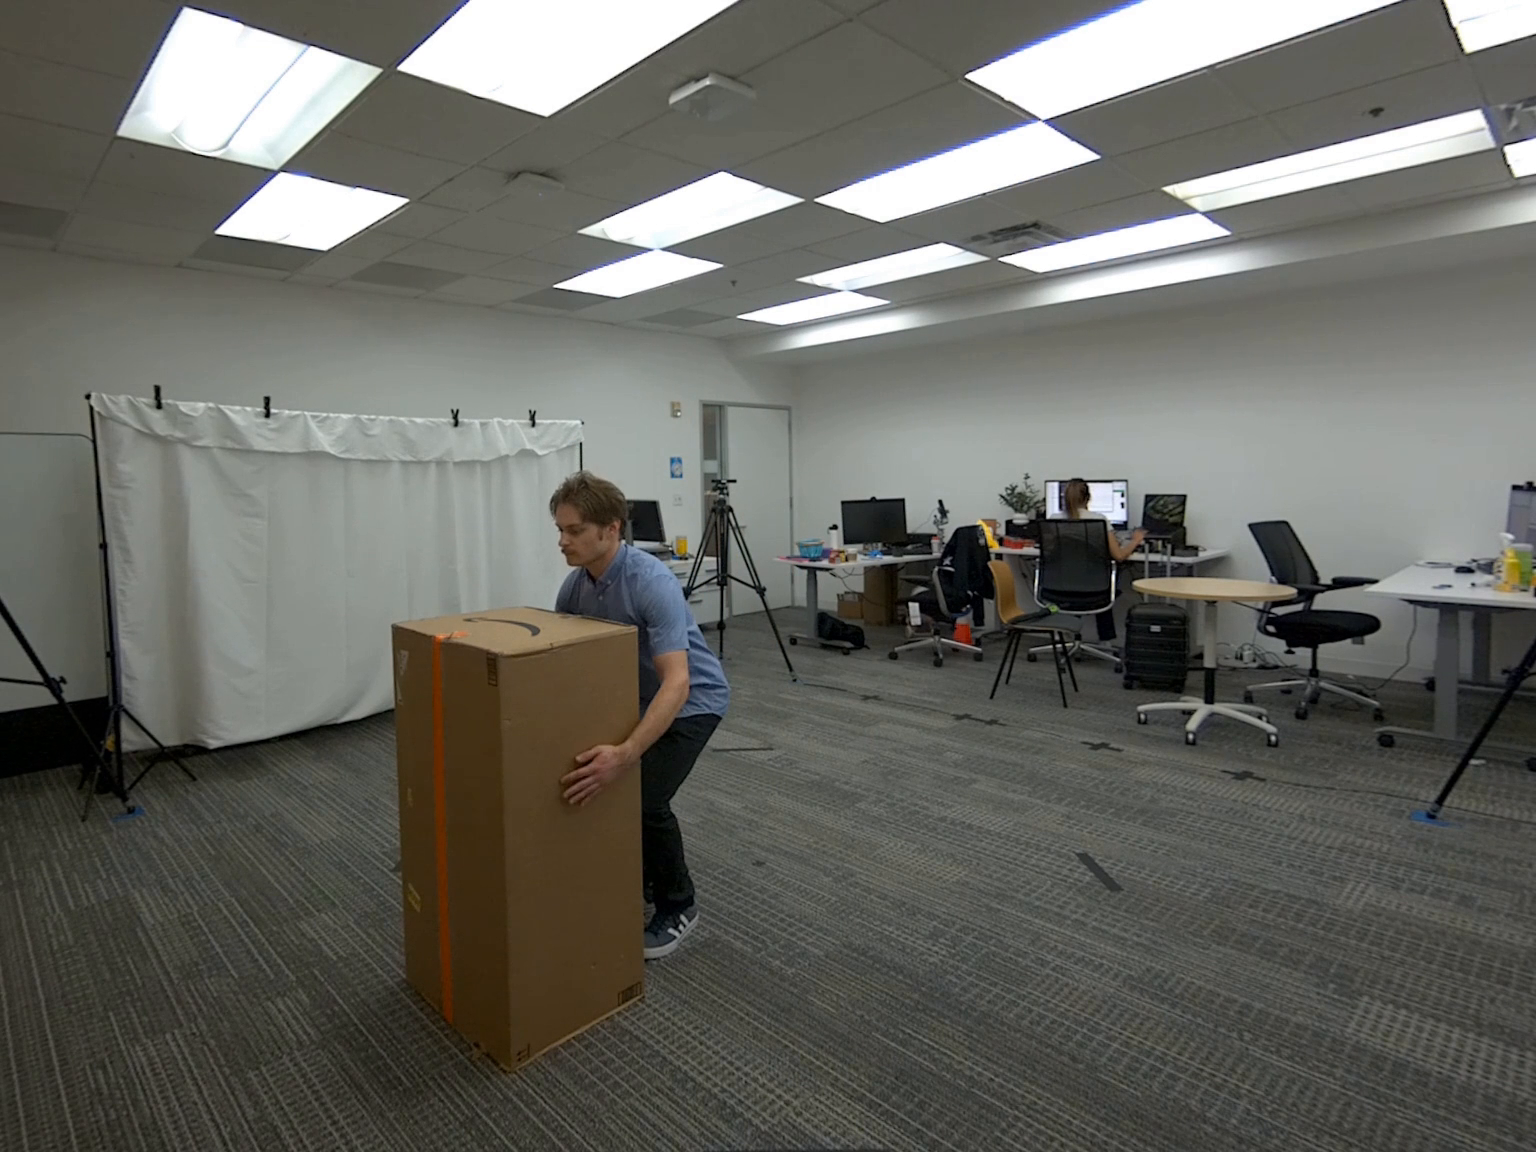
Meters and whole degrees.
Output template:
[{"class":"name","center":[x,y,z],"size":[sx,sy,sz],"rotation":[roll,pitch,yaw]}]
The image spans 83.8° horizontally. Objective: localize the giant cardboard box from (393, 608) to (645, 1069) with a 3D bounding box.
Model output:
[{"class":"giant cardboard box","center":[-0.691,0.642,2.338],"size":[0.595,1.022,0.415],"rotation":[4,6,44]}]
